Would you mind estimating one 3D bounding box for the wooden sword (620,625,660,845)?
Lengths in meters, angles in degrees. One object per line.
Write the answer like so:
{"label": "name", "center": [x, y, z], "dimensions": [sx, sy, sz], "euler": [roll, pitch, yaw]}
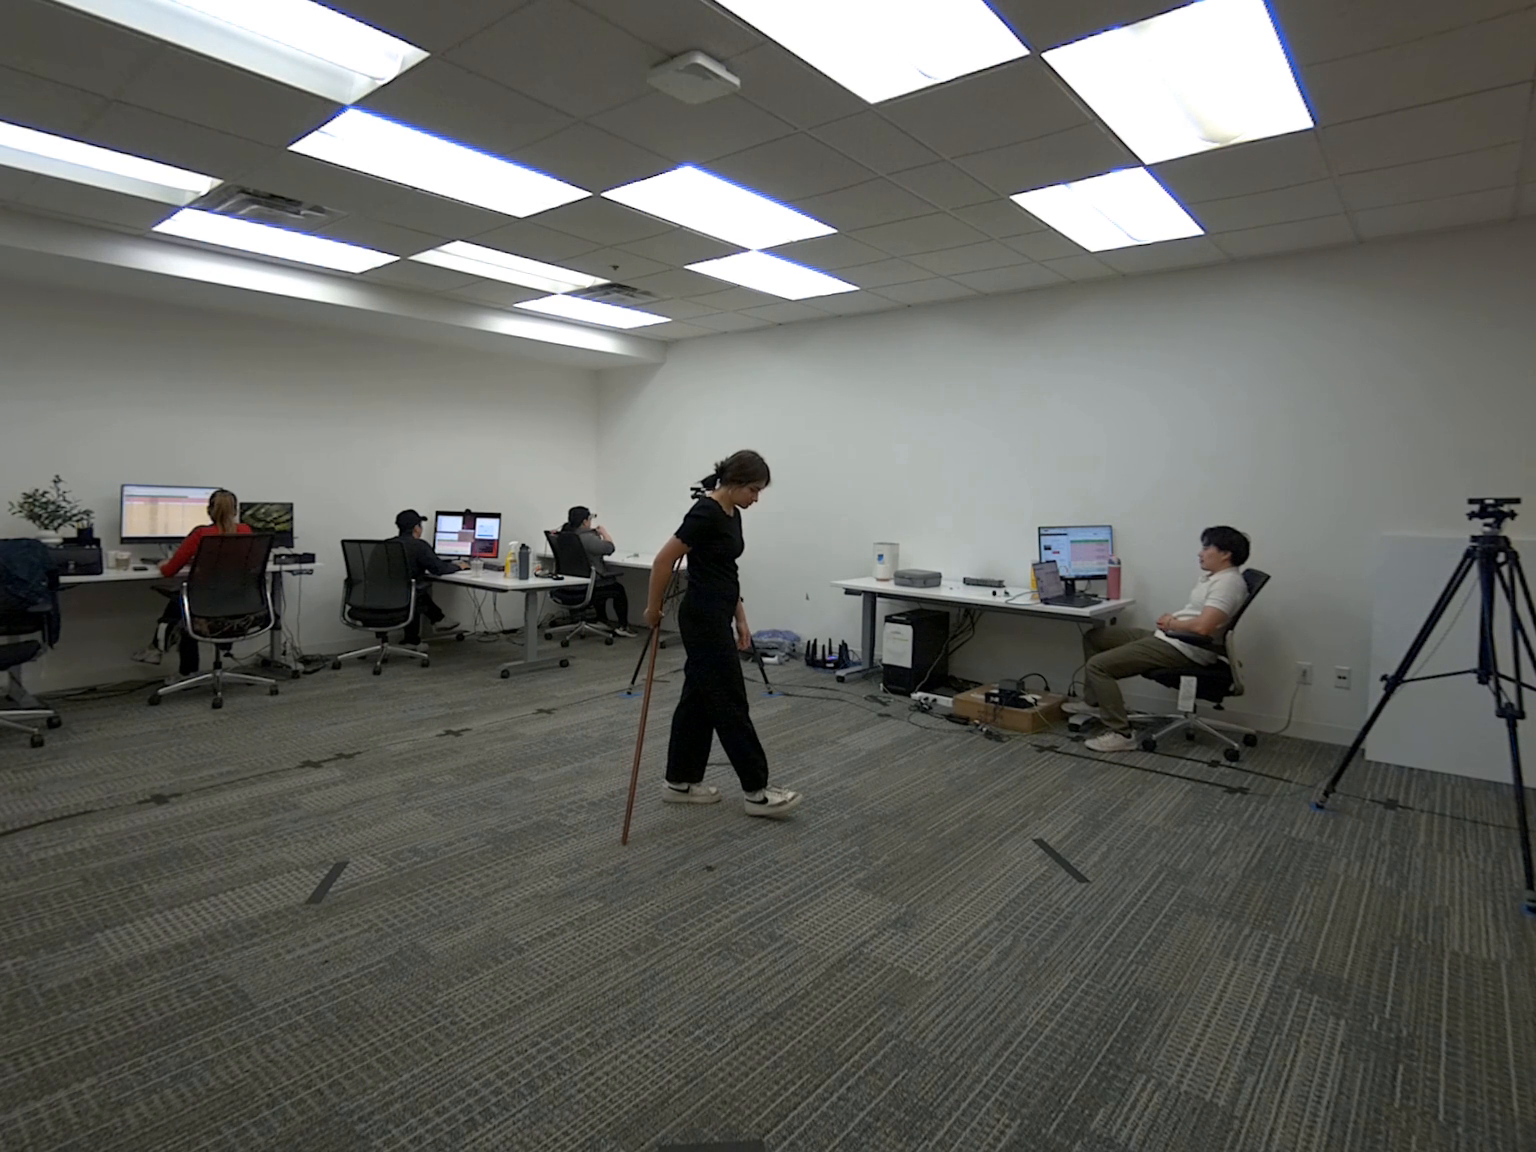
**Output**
{"label": "wooden sword", "center": [-0.526, 0.585, 3.527], "dimensions": [0.052, 1.046, 0.023], "euler": [-2, -27, 13]}
